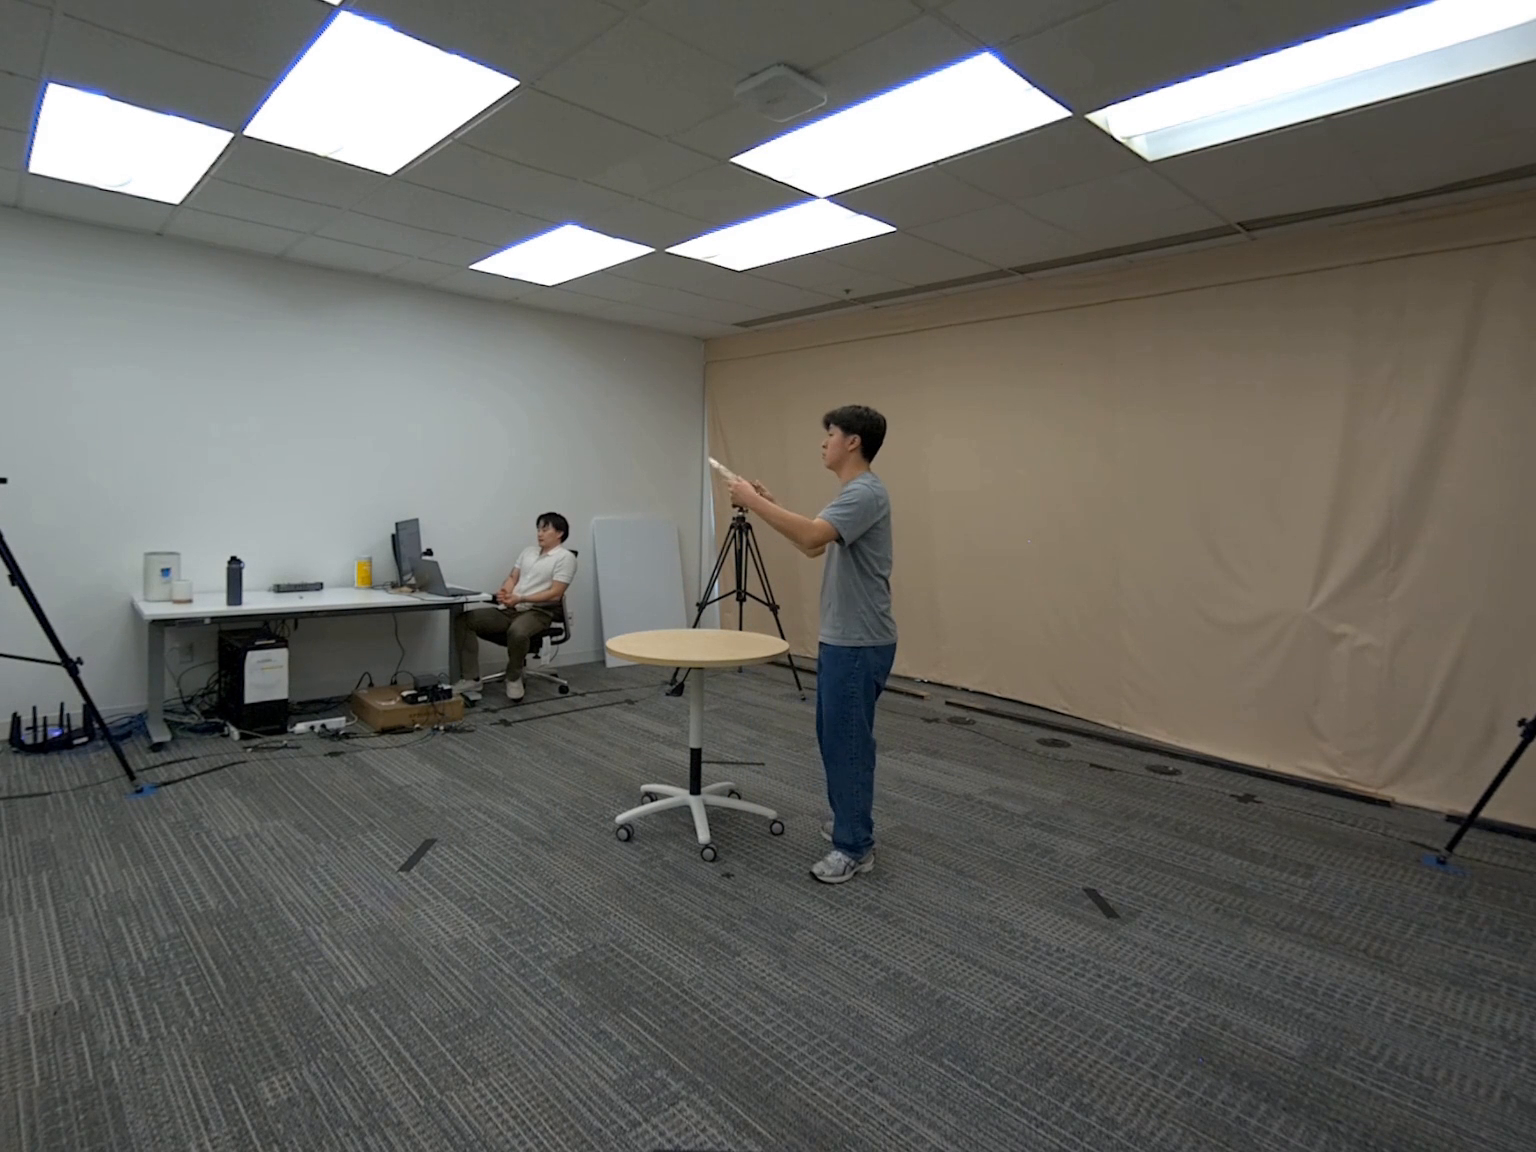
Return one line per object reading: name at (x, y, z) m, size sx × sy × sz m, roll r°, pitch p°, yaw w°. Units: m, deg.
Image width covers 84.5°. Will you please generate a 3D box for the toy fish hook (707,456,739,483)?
toy fish hook at (-0.105, -0.377, 3.284) m, size 0.226 × 0.048 × 0.504 m, roll 43°, pitch 6°, yaw 3°
